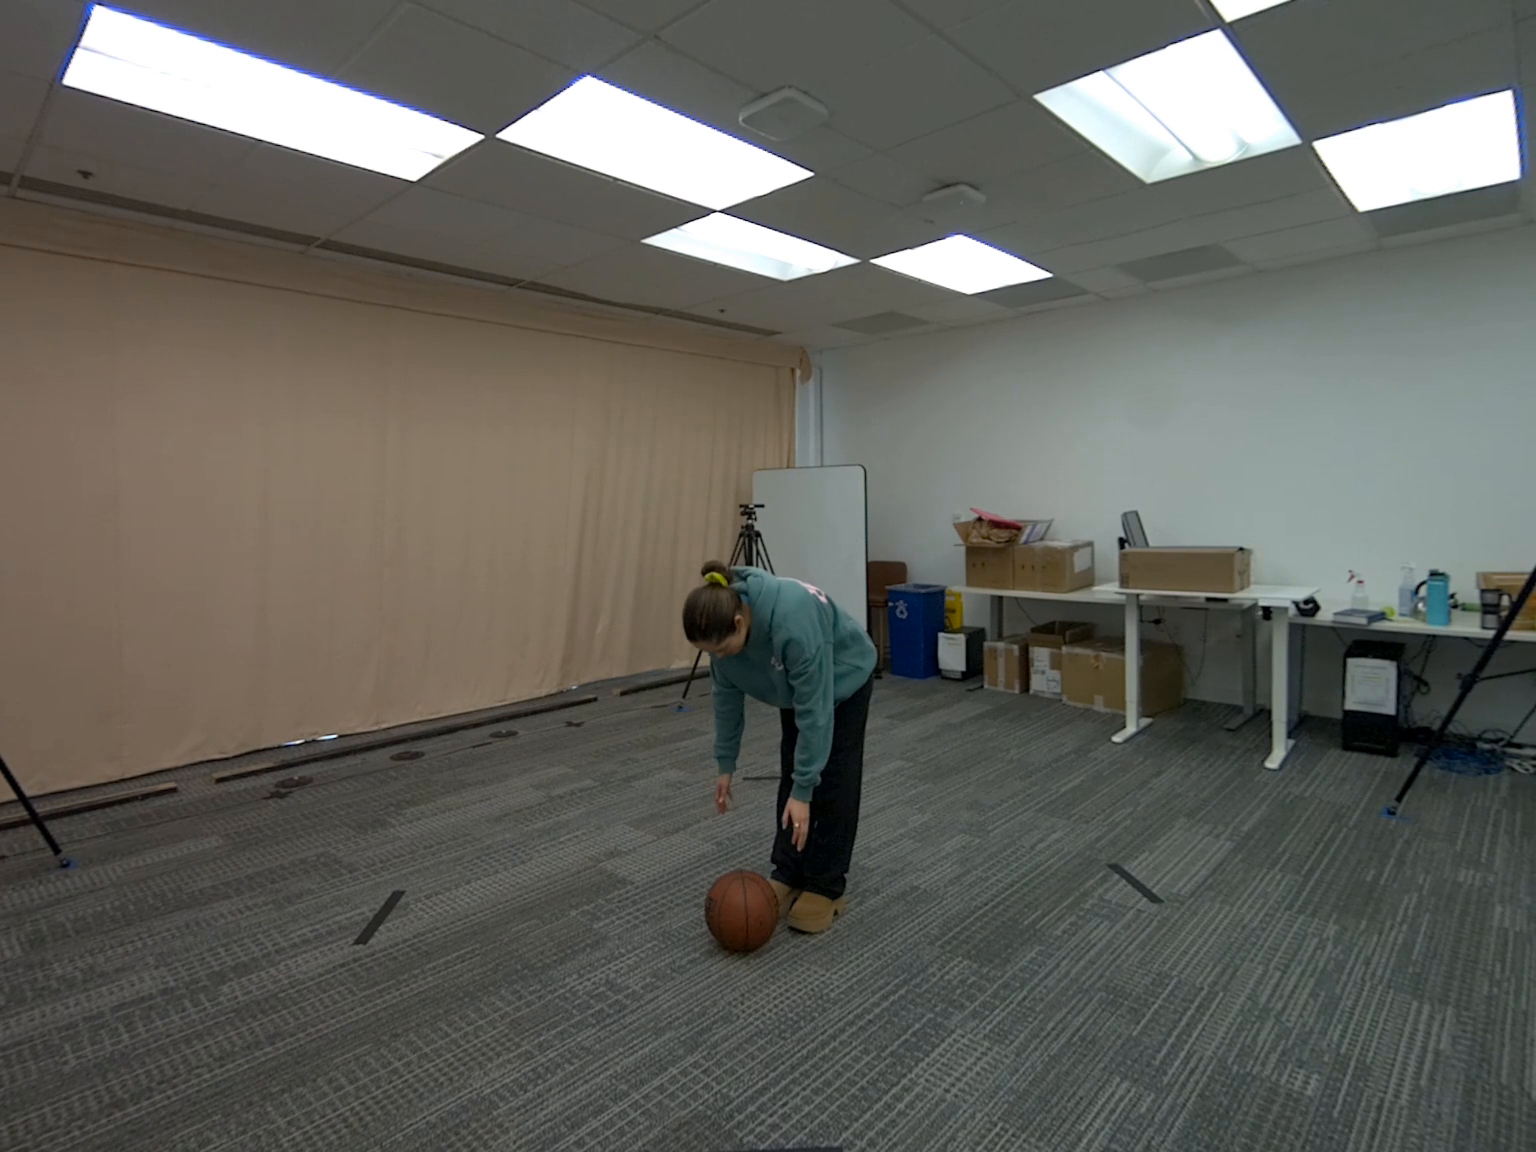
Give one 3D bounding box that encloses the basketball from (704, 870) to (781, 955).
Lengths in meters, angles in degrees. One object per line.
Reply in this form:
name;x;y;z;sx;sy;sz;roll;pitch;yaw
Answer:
basketball;-0.079;1.050;2.652;0.236;0.235;0.237;-1;4;-2
